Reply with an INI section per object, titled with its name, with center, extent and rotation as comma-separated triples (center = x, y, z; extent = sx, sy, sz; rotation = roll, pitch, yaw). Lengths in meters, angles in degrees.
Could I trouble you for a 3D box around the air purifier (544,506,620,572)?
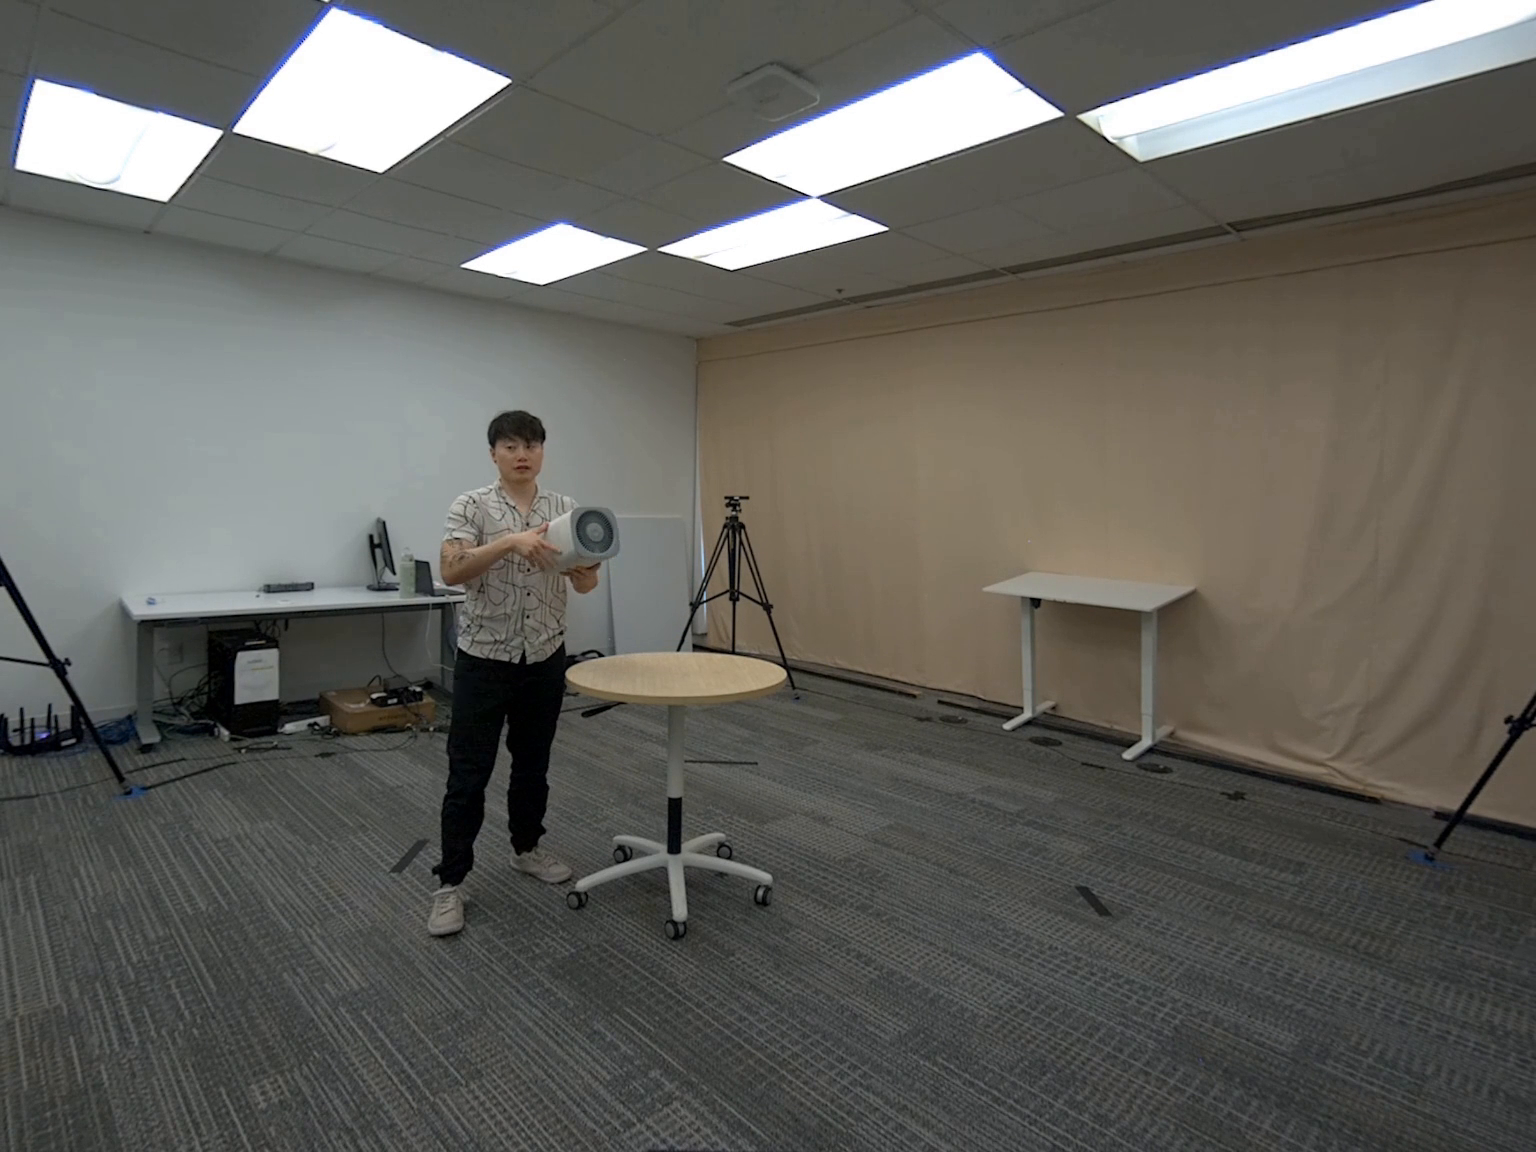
[air purifier]
center = -0.642, -0.111, 2.713
extent = 0.167, 0.173, 0.269
rotation = -3, -11, -44
